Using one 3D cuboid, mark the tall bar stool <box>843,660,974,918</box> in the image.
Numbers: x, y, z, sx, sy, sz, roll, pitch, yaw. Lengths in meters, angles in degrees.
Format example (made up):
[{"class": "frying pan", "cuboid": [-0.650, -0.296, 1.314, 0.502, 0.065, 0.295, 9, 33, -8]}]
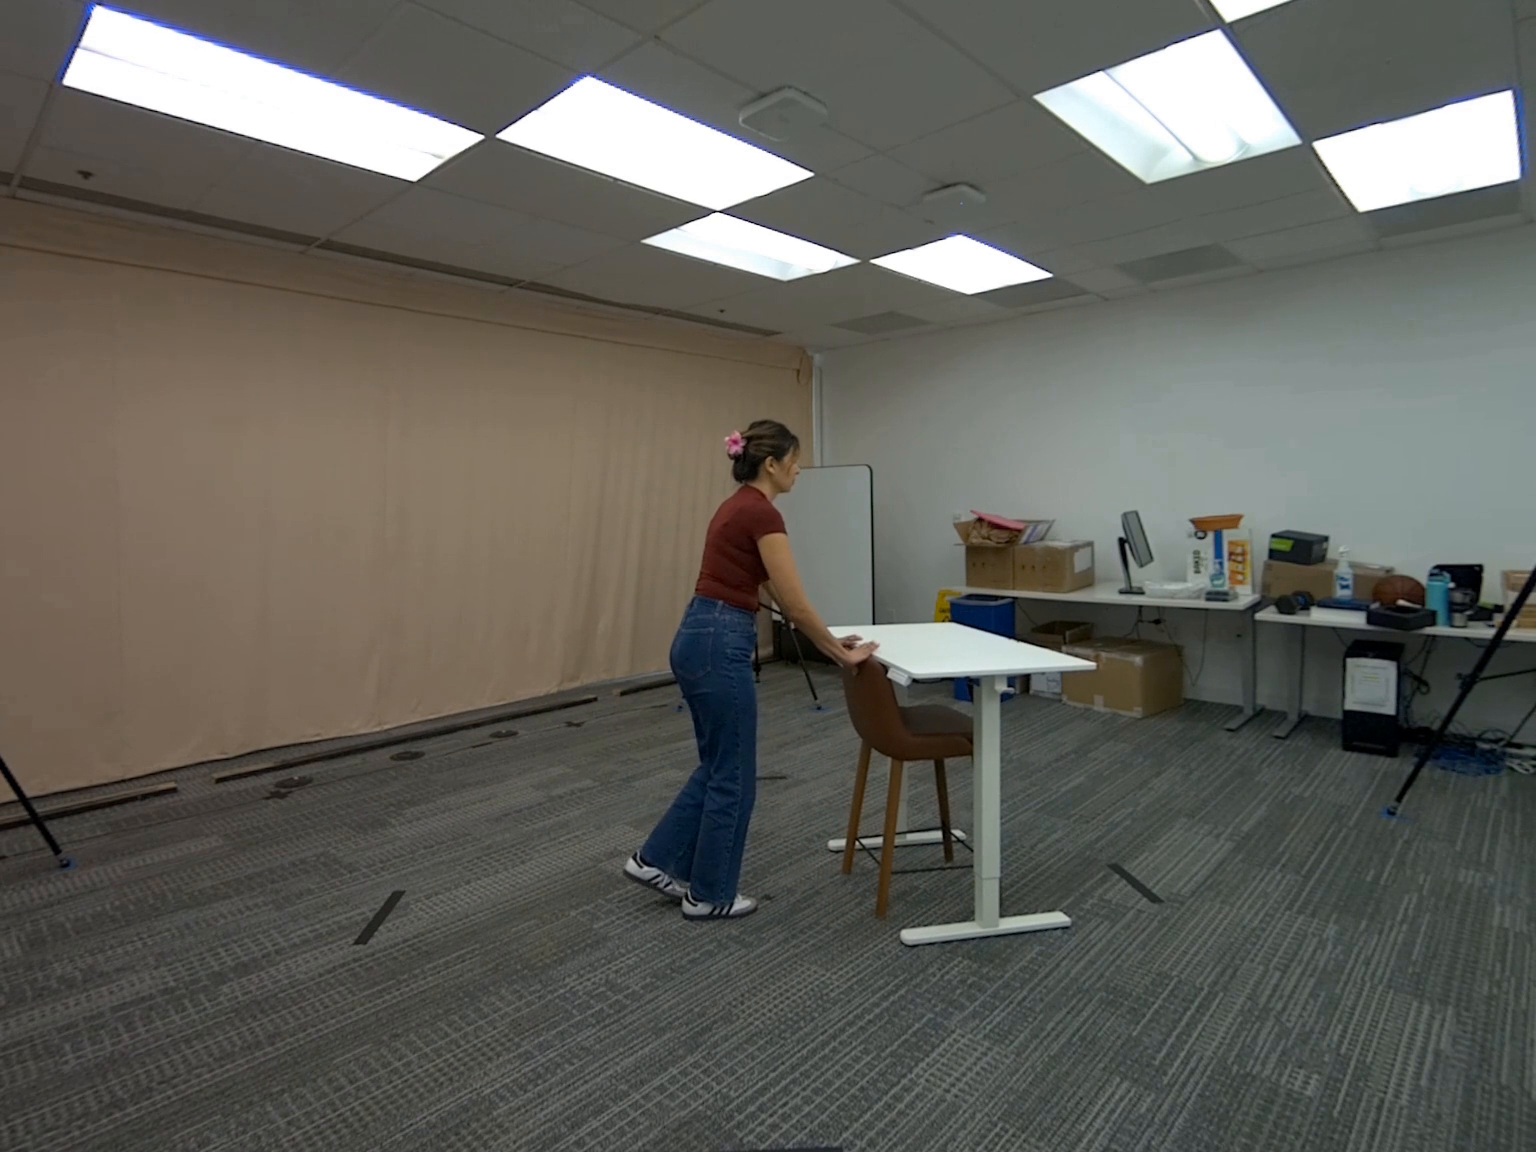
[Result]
[{"class": "tall bar stool", "cuboid": [0.527, 0.697, 3.003, 0.463, 0.887, 0.463, -3, 5, -10]}]
